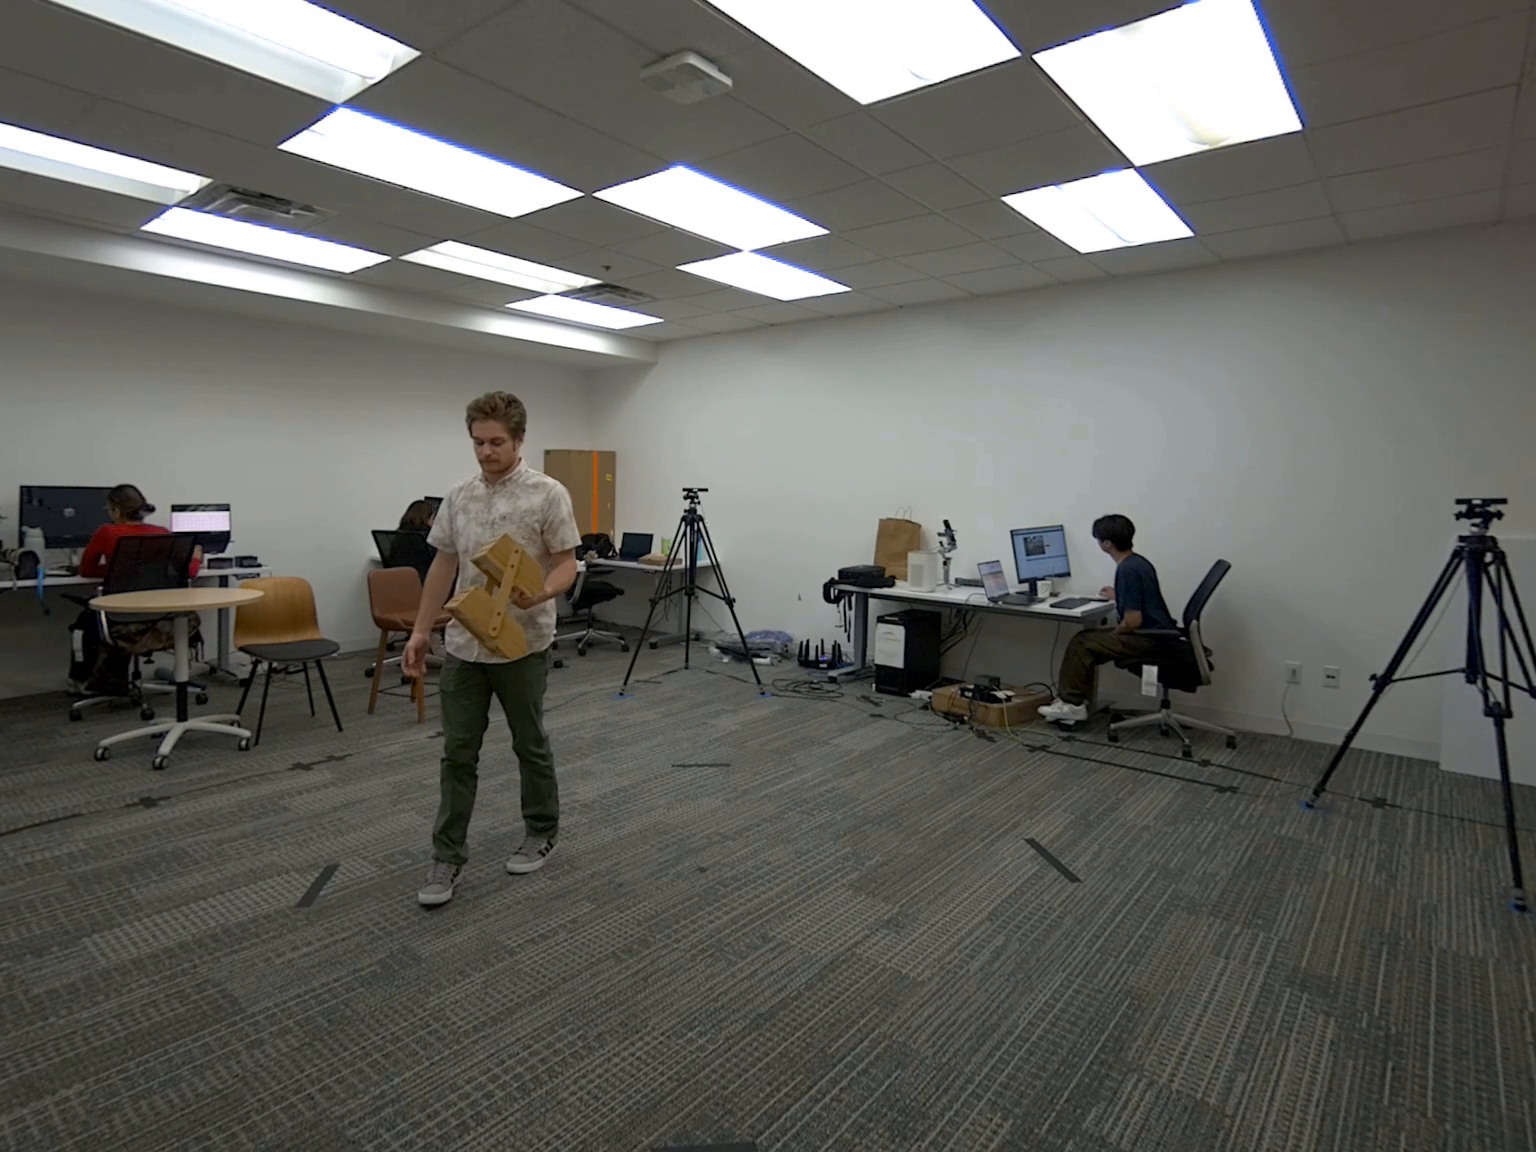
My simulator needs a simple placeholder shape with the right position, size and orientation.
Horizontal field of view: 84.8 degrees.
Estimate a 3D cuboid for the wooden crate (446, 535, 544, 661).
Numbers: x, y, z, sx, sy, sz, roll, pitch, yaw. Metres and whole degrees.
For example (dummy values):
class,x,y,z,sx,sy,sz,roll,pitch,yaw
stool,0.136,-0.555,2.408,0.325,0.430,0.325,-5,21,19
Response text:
class,x,y,z,sx,sy,sz,roll,pitch,yaw
wooden crate,-0.843,0.067,2.683,0.296,0.273,0.331,45,-21,-16
